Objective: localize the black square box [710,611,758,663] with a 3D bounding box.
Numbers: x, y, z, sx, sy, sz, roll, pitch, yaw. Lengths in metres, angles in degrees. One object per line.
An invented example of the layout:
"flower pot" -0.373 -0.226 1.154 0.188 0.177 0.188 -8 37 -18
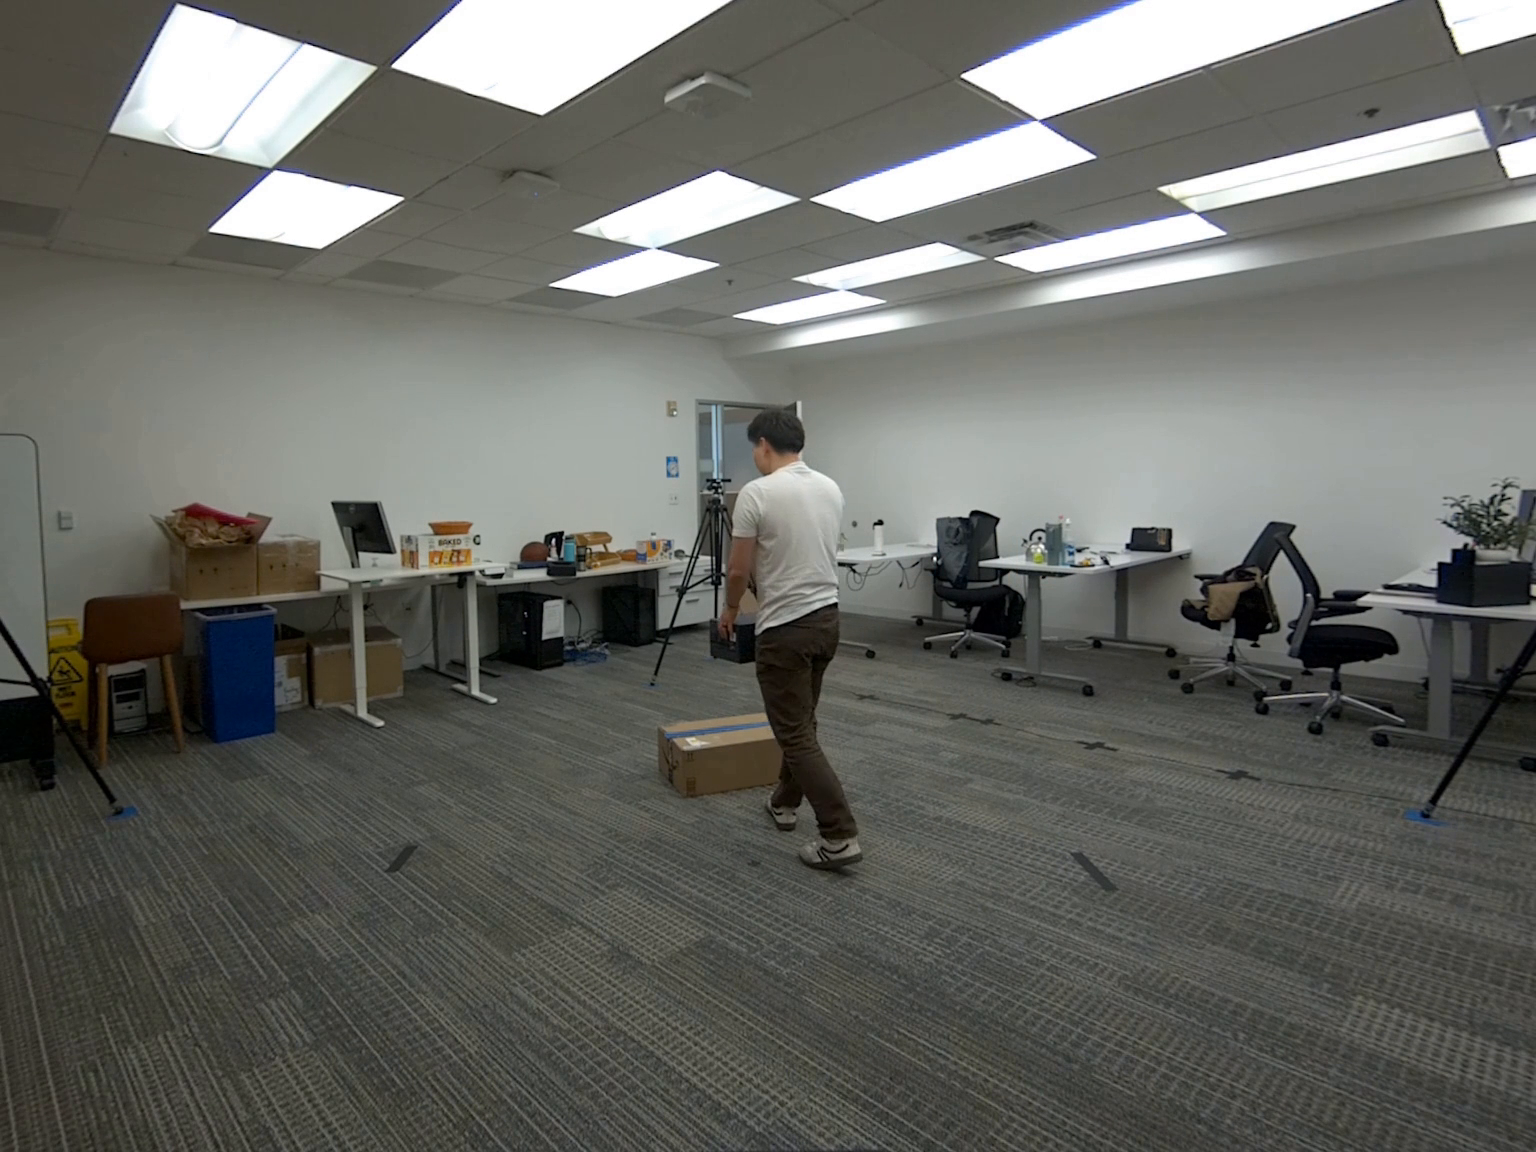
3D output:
"black square box" -0.083 0.242 3.485 0.222 0.155 0.223 -4 5 -33
